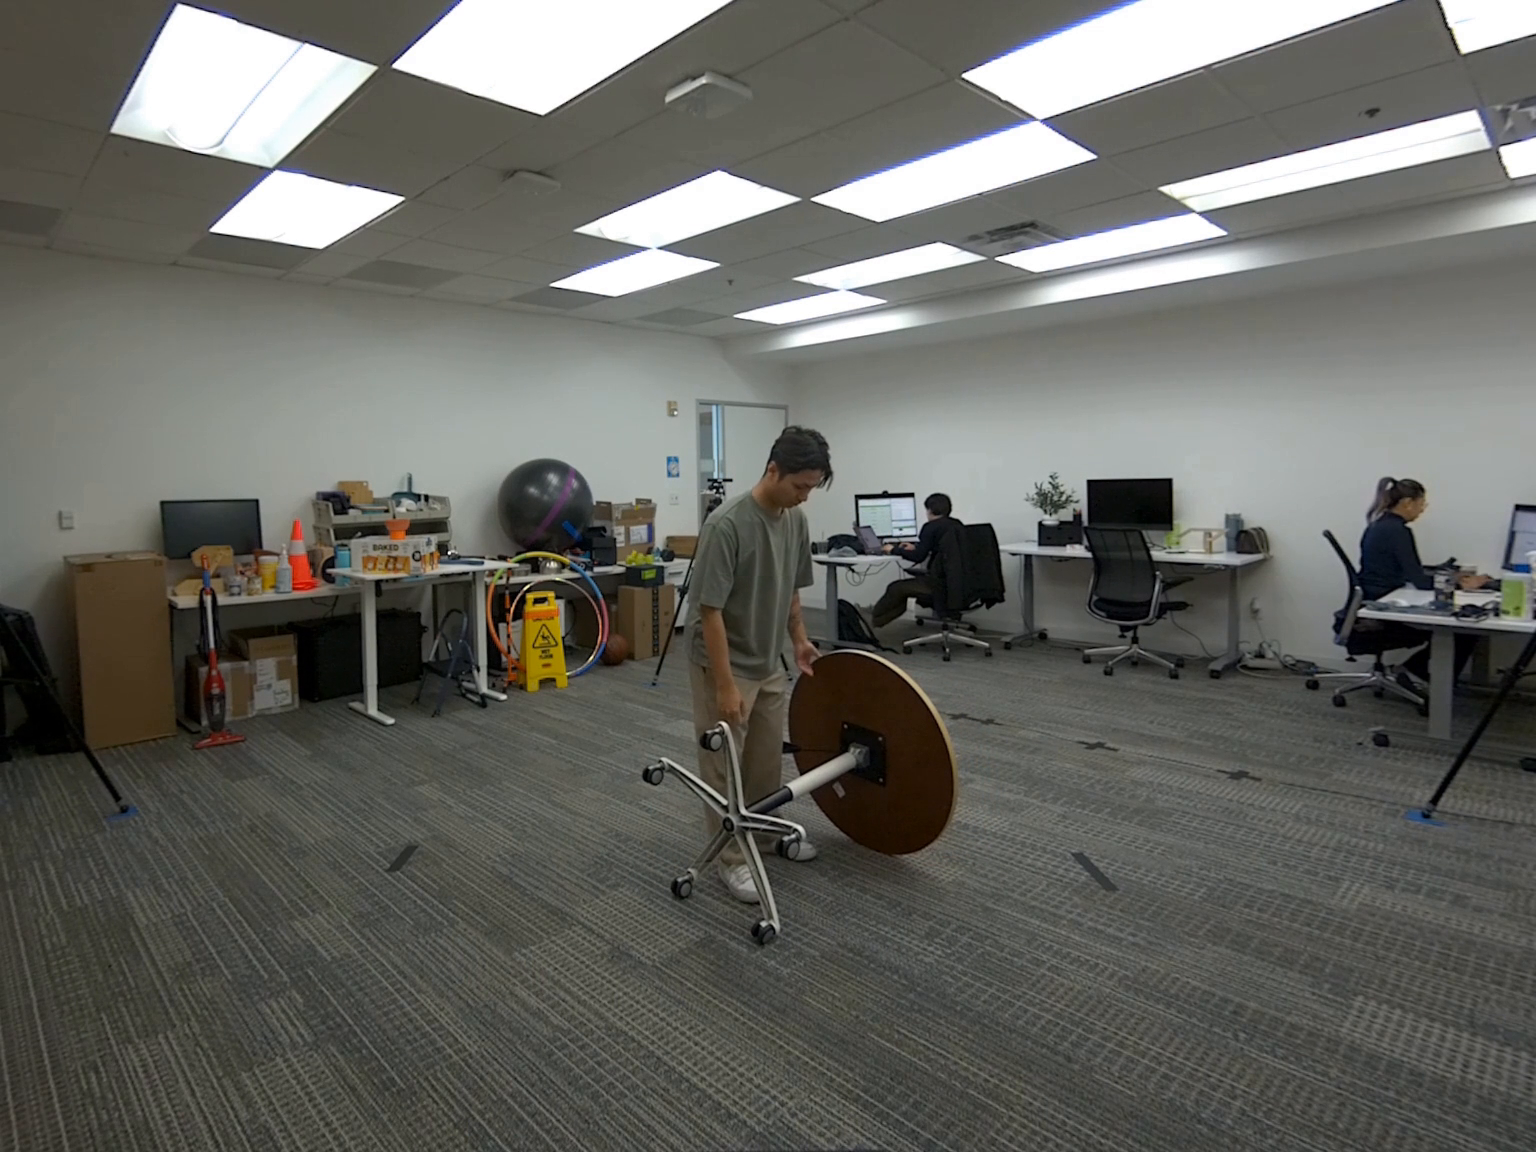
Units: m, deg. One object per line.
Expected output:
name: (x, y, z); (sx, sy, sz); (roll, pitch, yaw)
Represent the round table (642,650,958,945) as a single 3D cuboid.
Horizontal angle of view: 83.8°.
round table: (0.101, 0.732, 2.904); (0.770, 0.778, 0.809); (-15, 13, -42)
